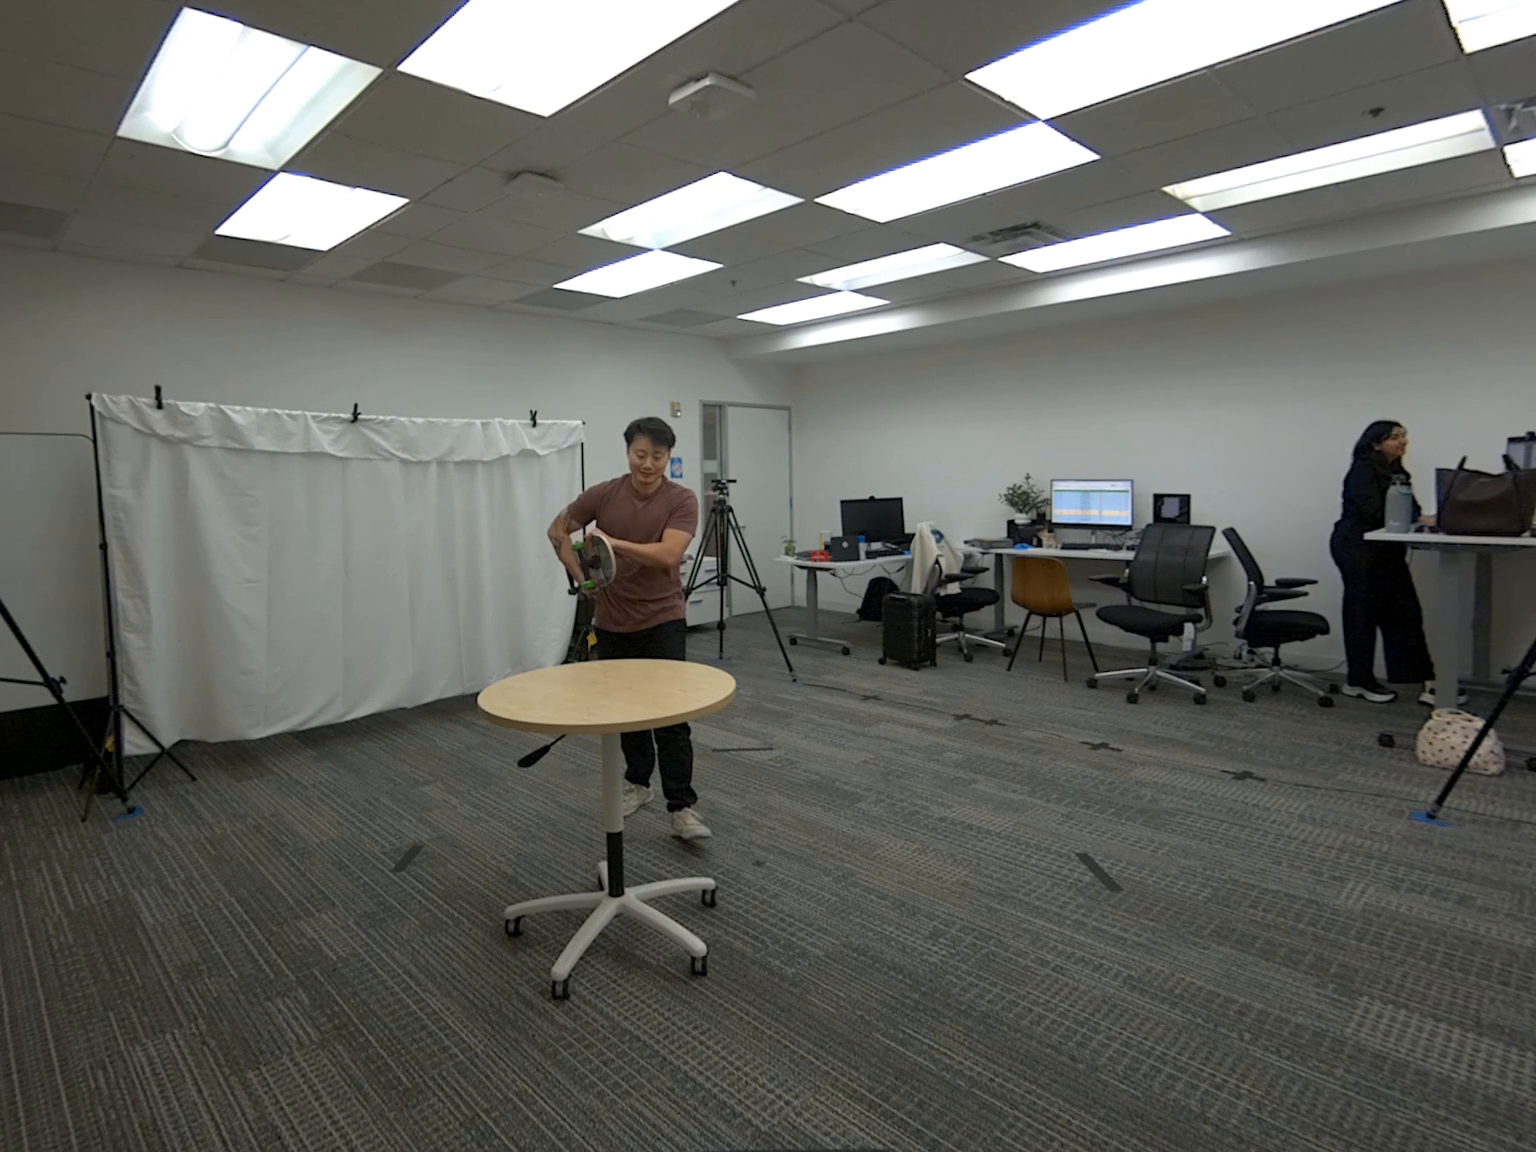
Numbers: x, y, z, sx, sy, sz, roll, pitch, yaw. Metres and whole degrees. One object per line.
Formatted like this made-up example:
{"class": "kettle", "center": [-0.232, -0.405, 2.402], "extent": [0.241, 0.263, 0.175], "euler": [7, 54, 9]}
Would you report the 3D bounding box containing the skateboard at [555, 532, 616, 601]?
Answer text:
{"class": "skateboard", "center": [-0.738, -0.032, 3.469], "extent": [0.109, 0.193, 0.795], "euler": [-17, 1, -20]}
